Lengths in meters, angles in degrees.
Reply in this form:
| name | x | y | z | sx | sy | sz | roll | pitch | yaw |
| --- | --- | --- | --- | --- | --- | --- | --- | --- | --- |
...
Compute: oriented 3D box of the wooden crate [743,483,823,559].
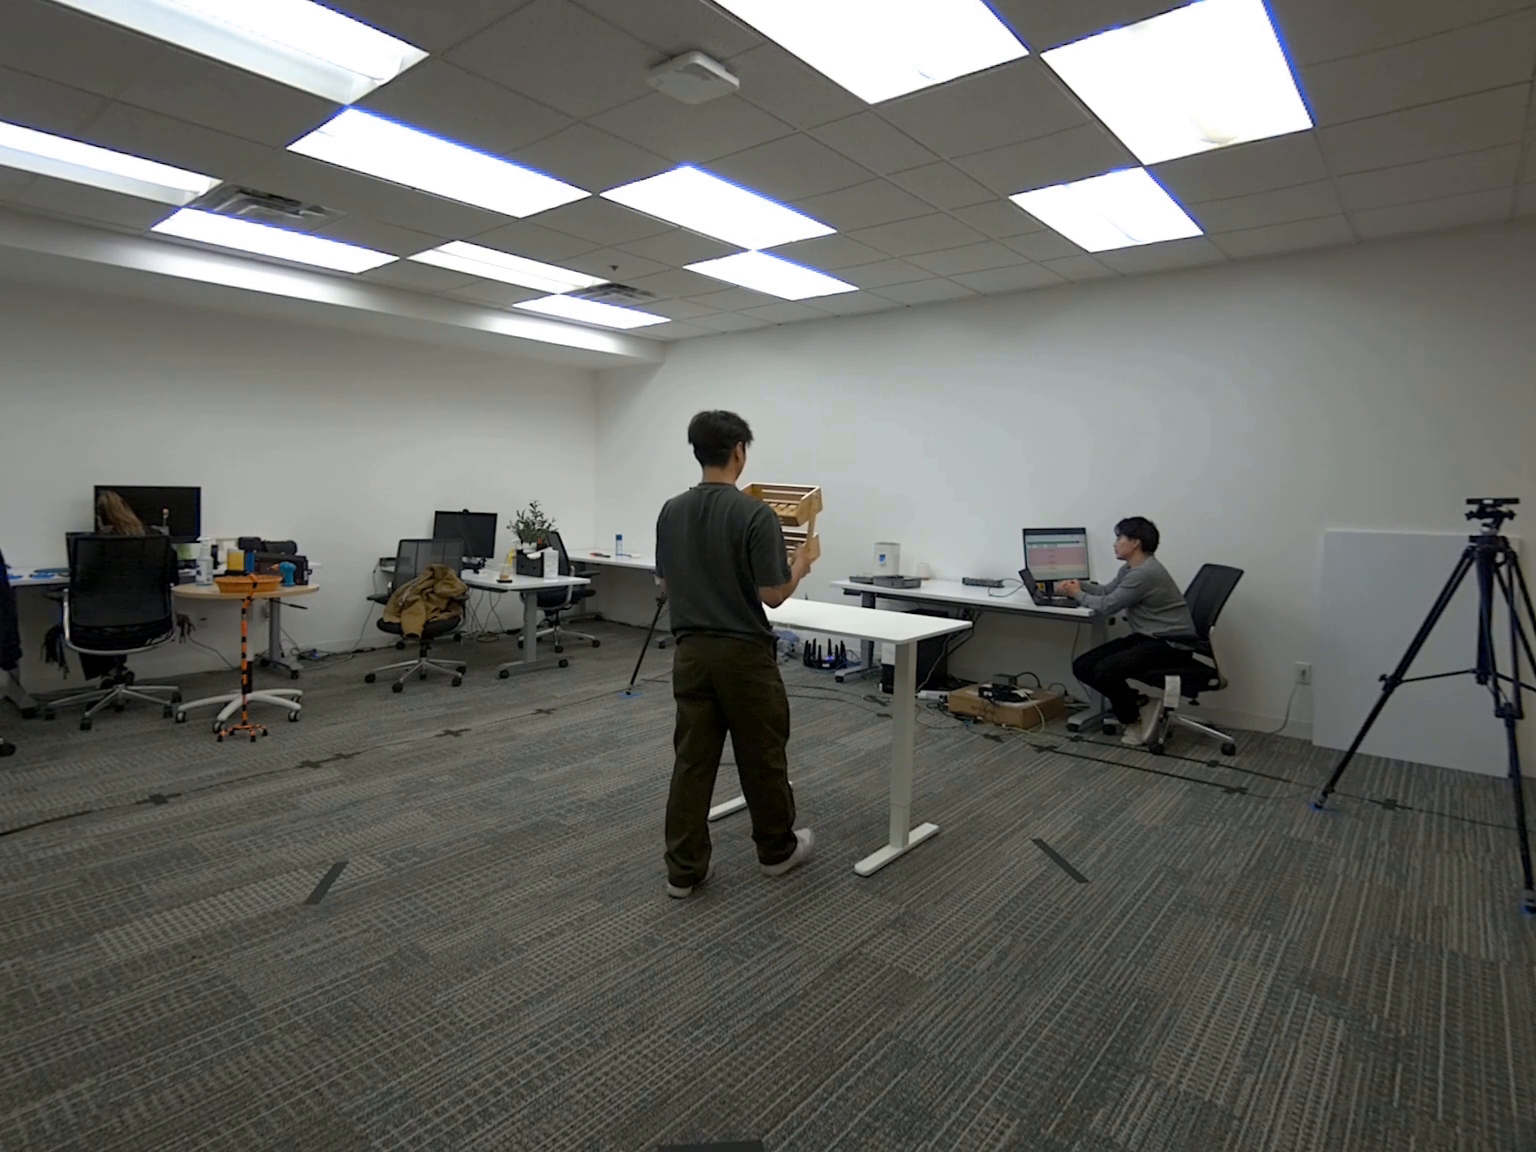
| name | x | y | z | sx | sy | sz | roll | pitch | yaw |
| --- | --- | --- | --- | --- | --- | --- | --- | --- | --- |
| wooden crate | 0.001 | -0.180 | 3.177 | 0.335 | 0.267 | 0.299 | 7 | 25 | 31 |
